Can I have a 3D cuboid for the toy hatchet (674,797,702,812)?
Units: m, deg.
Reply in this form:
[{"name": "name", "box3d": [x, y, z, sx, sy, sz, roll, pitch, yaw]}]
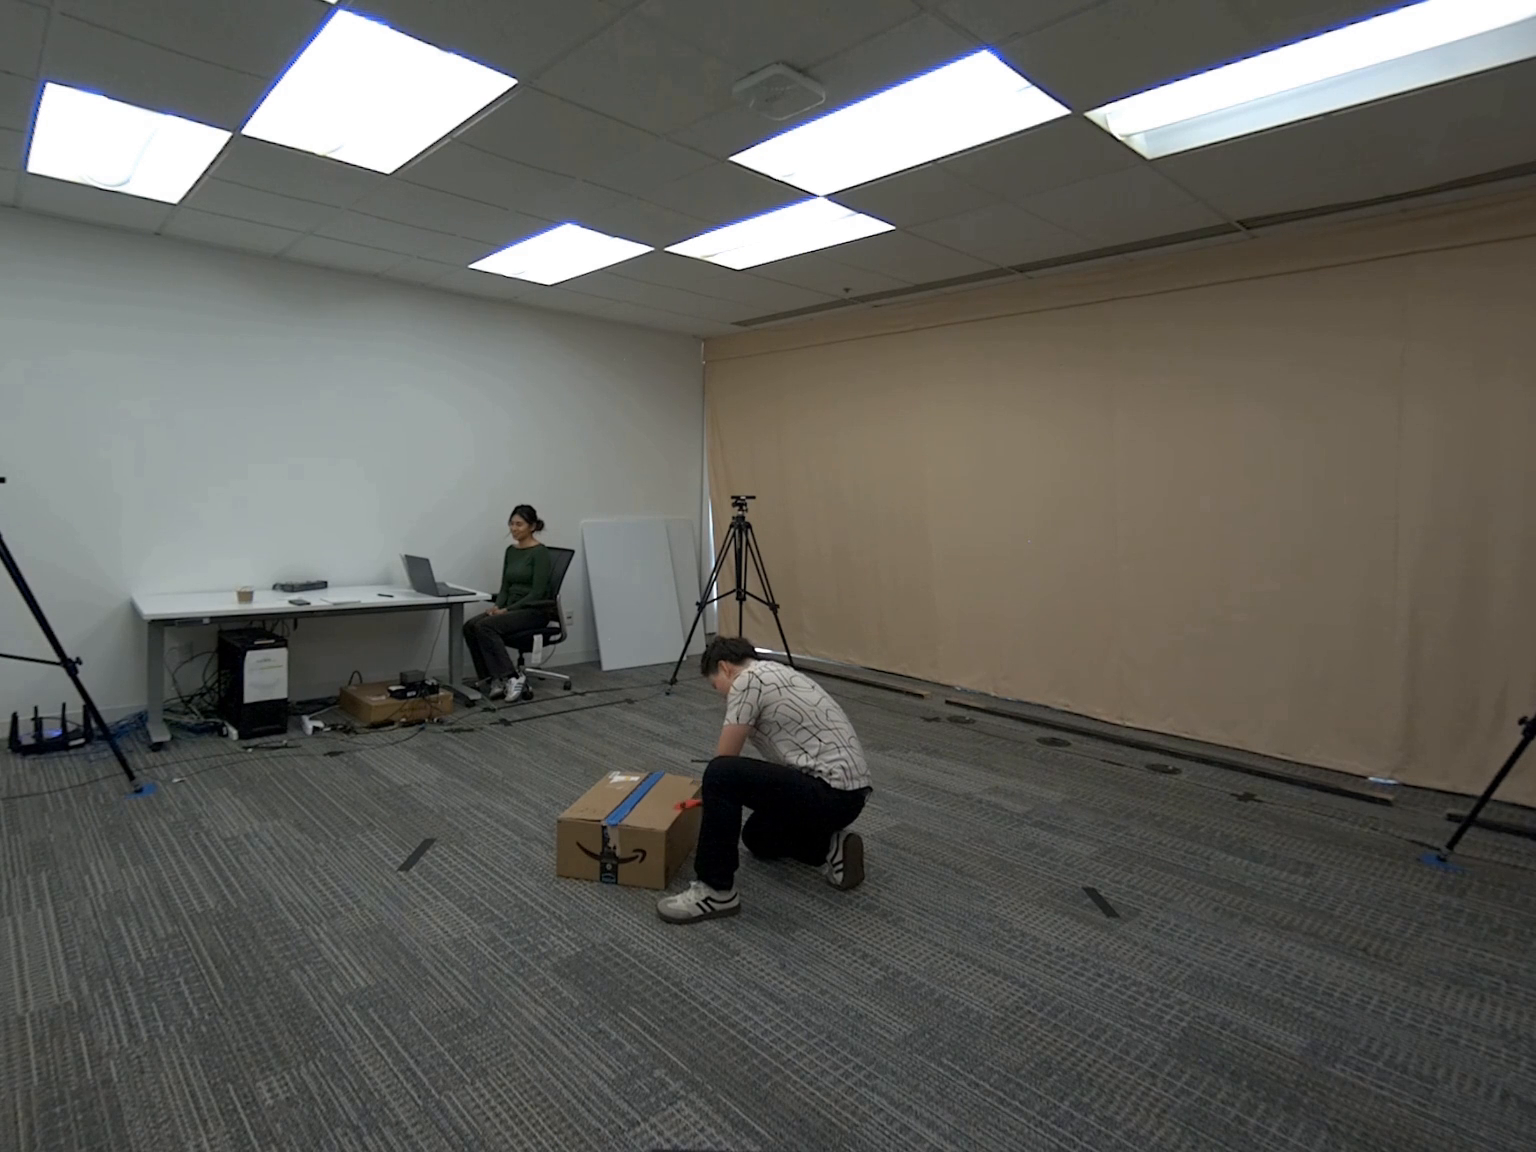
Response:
[{"name": "toy hatchet", "box3d": [-0.265, 0.847, 3.130, 0.132, 0.030, 0.263, -20, -24, 16]}]
